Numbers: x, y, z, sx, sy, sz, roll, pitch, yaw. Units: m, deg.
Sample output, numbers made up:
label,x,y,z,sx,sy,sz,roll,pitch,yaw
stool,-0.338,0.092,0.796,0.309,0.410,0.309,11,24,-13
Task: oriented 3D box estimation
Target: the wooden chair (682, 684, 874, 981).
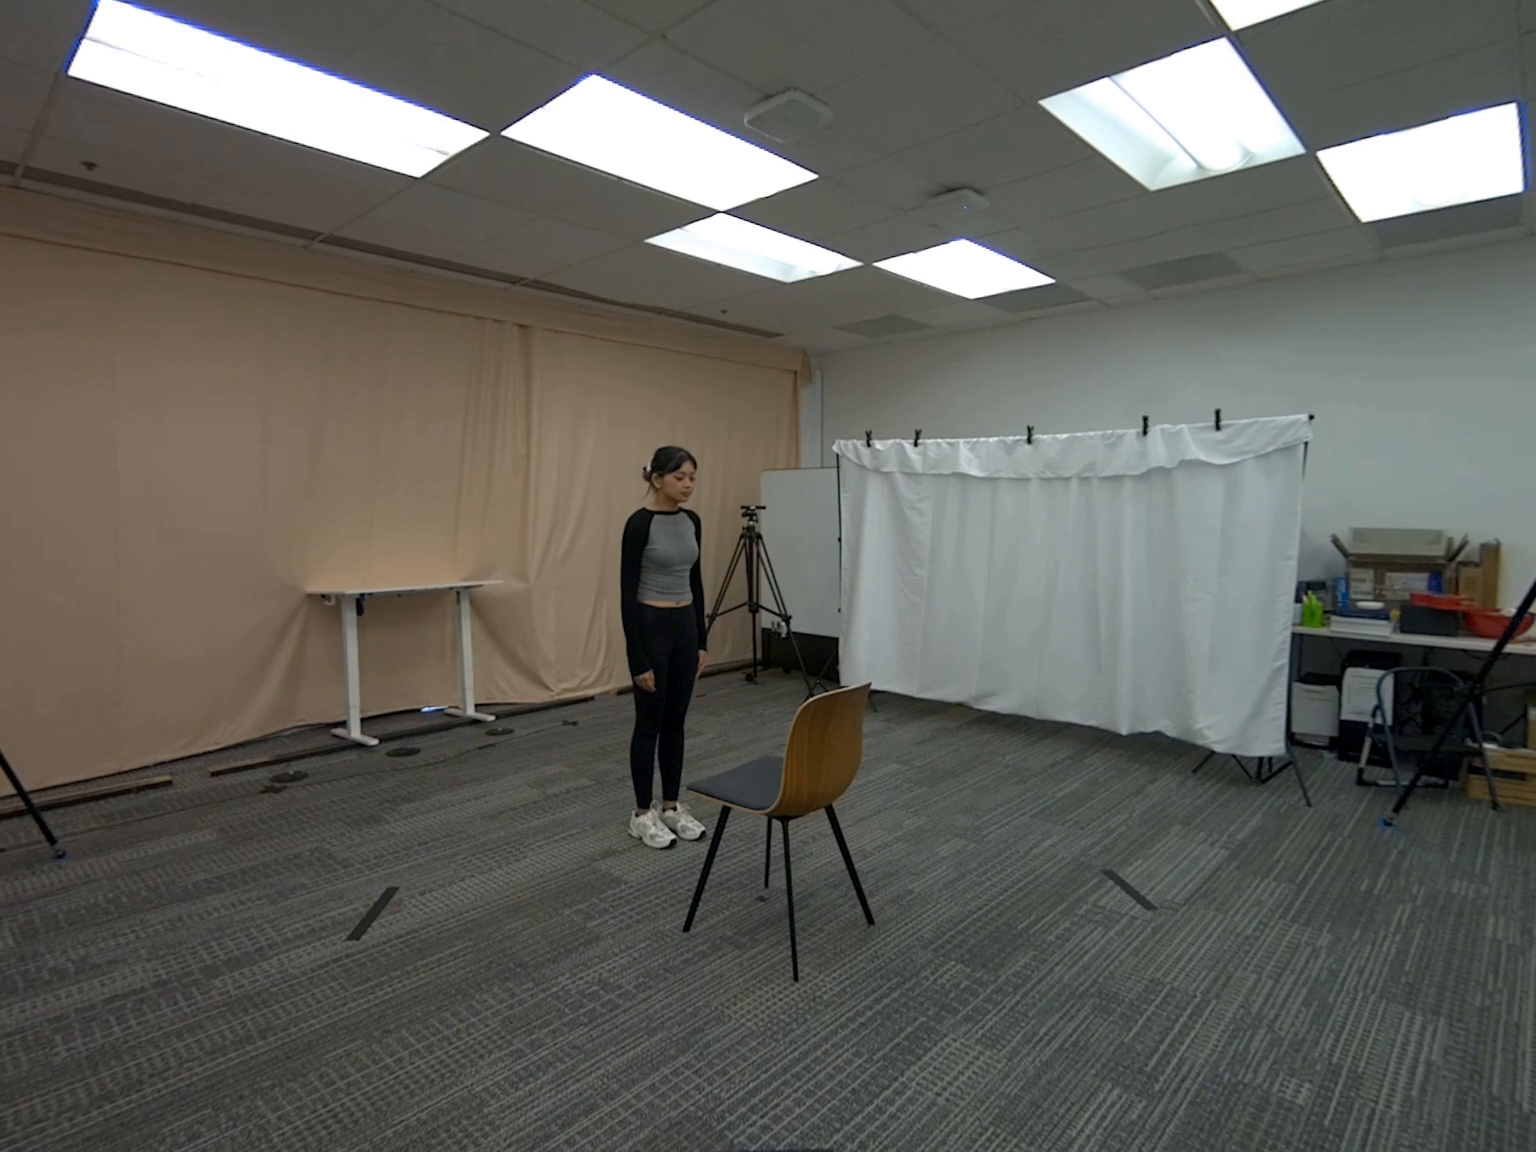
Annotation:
label,x,y,z,sx,sy,sz,roll,pitch,yaw
wooden chair,0.035,0.735,2.751,0.541,0.874,0.464,8,8,38
